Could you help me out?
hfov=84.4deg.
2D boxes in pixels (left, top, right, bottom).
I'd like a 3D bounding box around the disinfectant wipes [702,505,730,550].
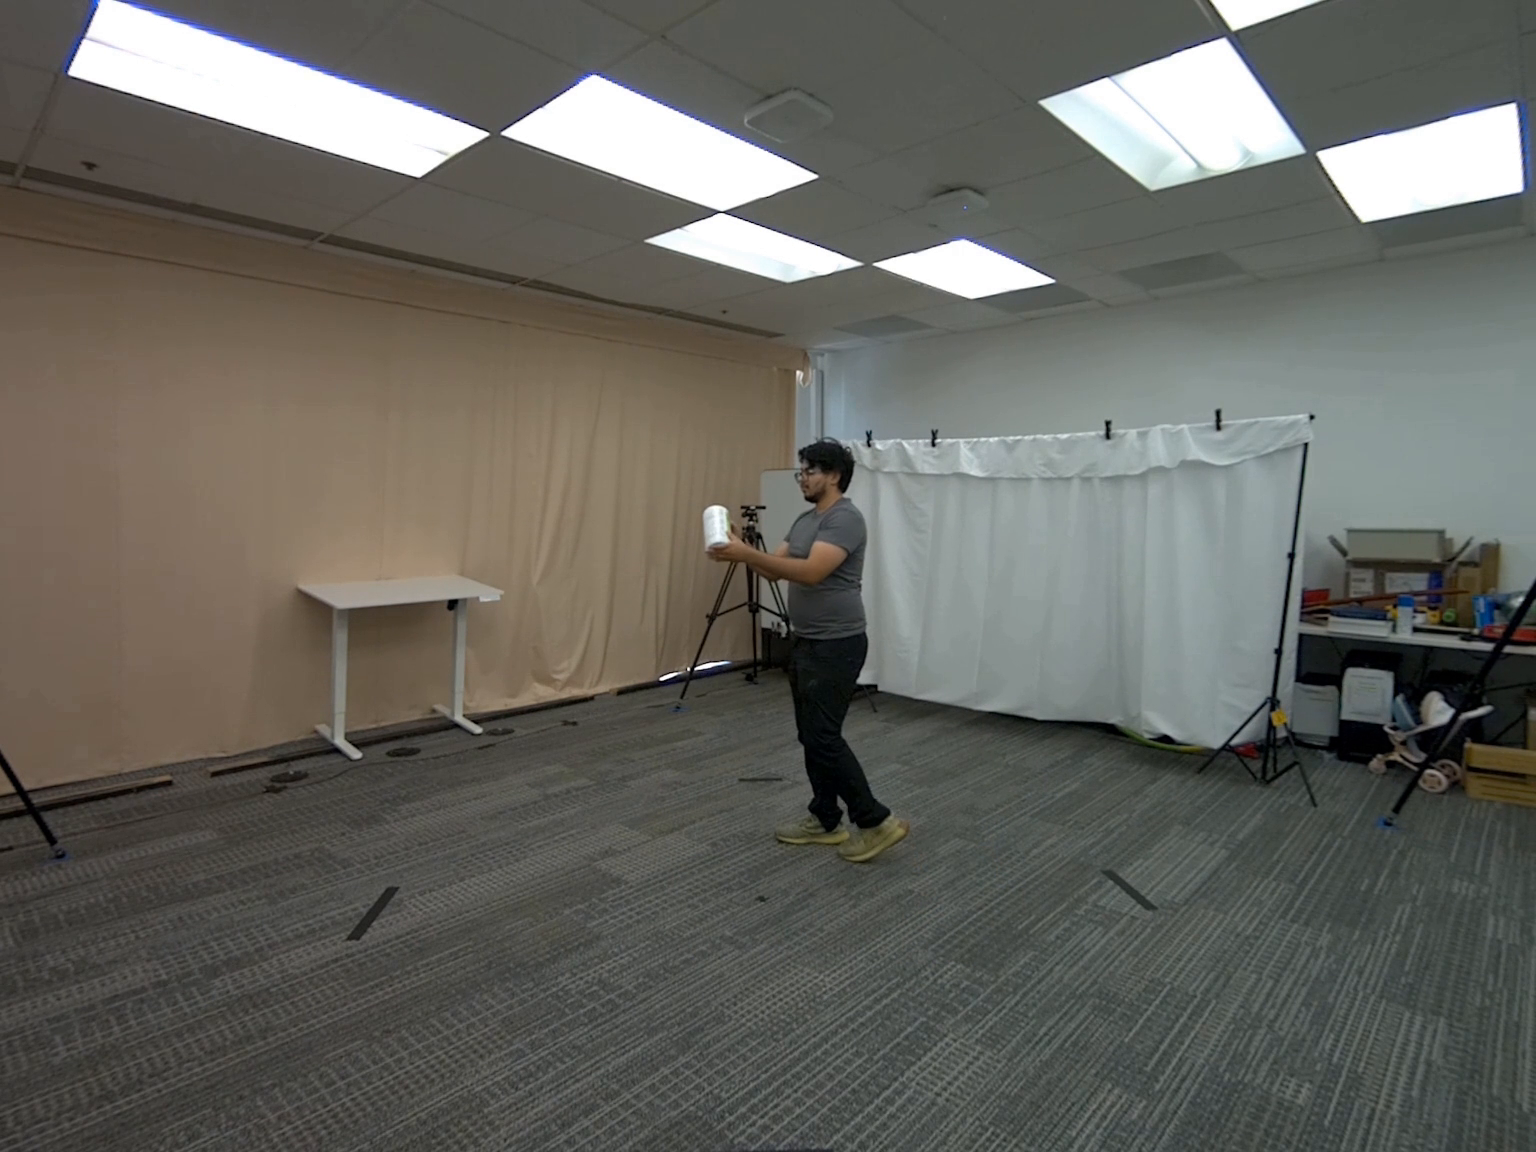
[{"bbox_3d":[-0.193,-0.165,3.317,0.117,0.222,0.116,-1,-42,-6],"label":"disinfectant wipes"}]
